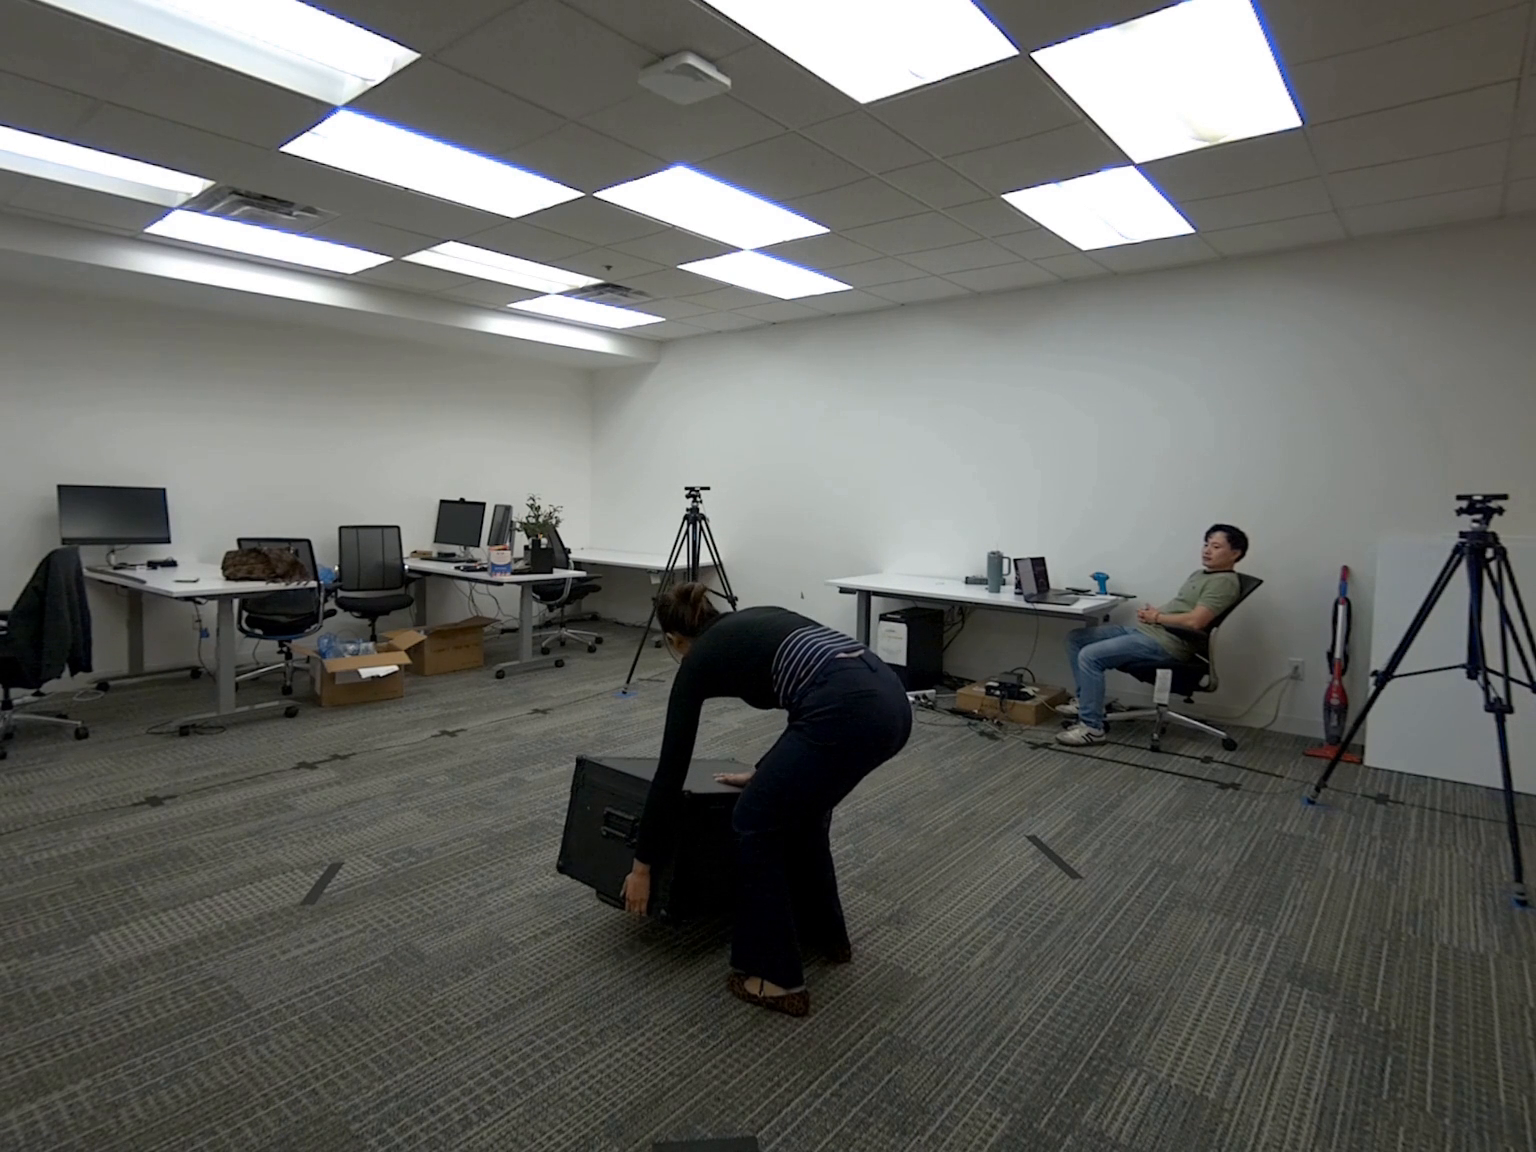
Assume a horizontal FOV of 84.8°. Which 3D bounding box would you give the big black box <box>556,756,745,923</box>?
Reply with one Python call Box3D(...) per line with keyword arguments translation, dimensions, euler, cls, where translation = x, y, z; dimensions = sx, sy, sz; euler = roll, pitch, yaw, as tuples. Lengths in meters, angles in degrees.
Box3D(translation=(-0.247, 0.829, 2.775), dimensions=(0.539, 0.398, 0.829), euler=(6, -7, 41), cls="big black box")
